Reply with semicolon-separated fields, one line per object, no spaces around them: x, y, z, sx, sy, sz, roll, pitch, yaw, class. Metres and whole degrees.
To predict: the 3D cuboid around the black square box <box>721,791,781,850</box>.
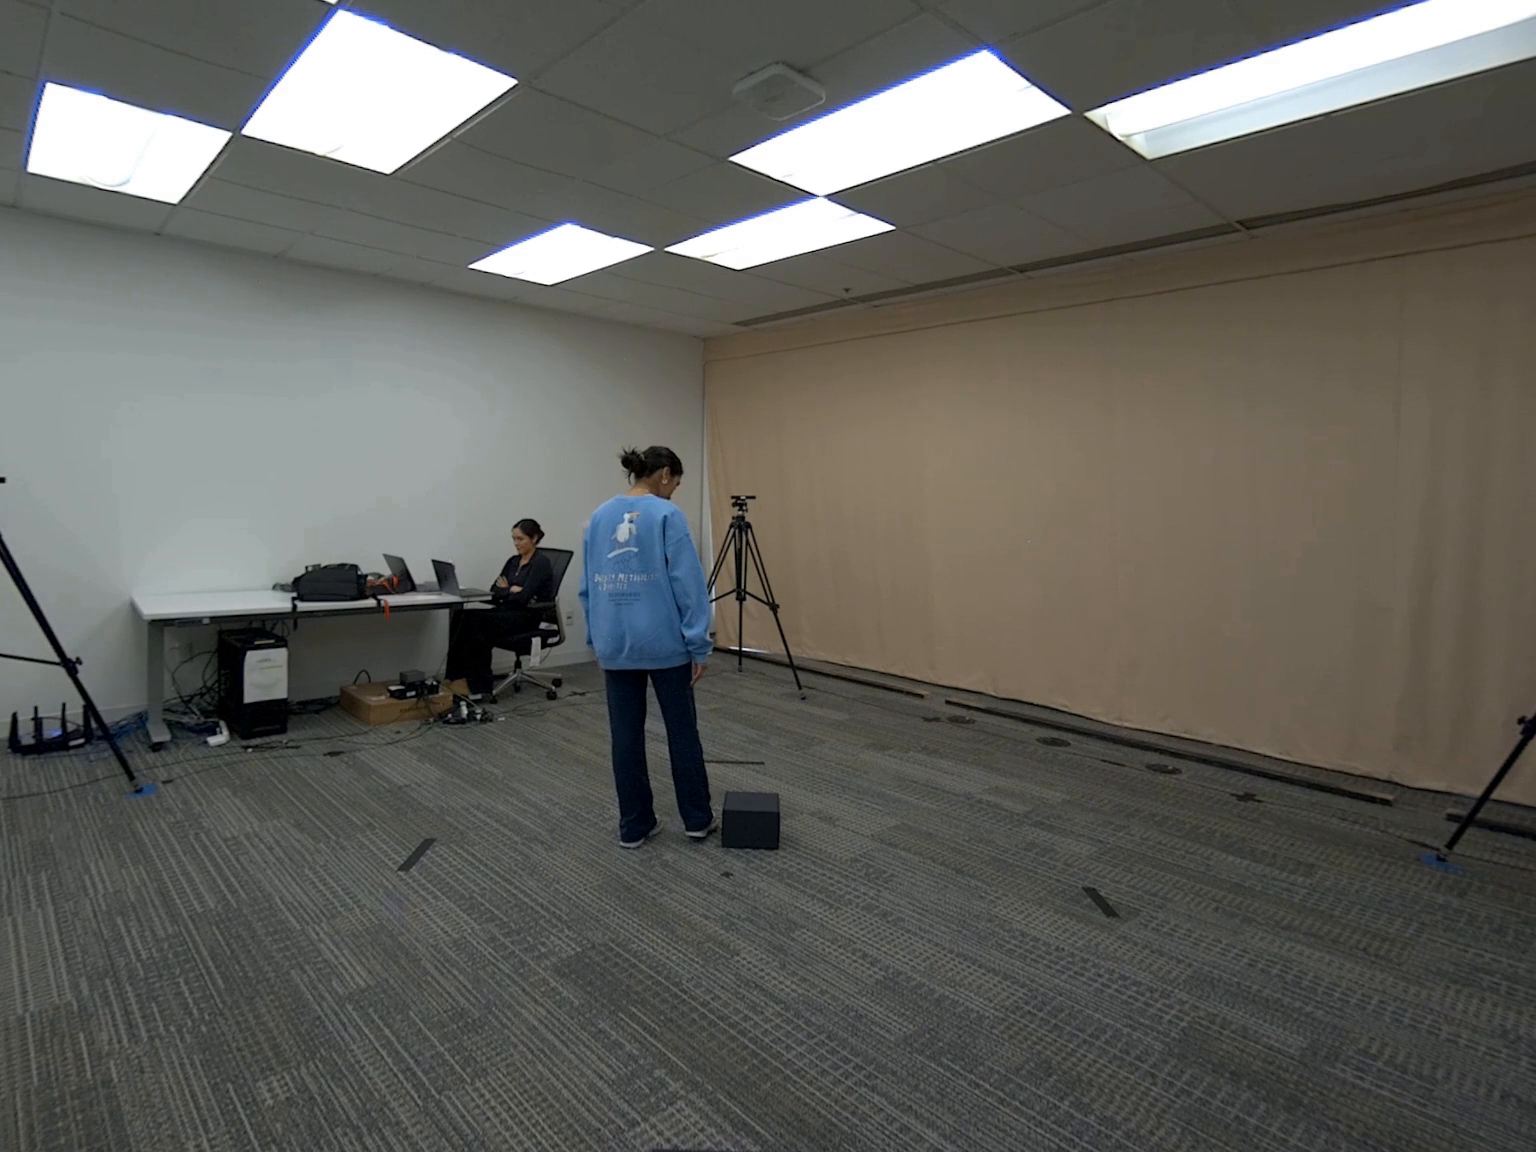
-0.072;0.987;3.433;0.228;0.155;0.217;1;3;1;black square box
